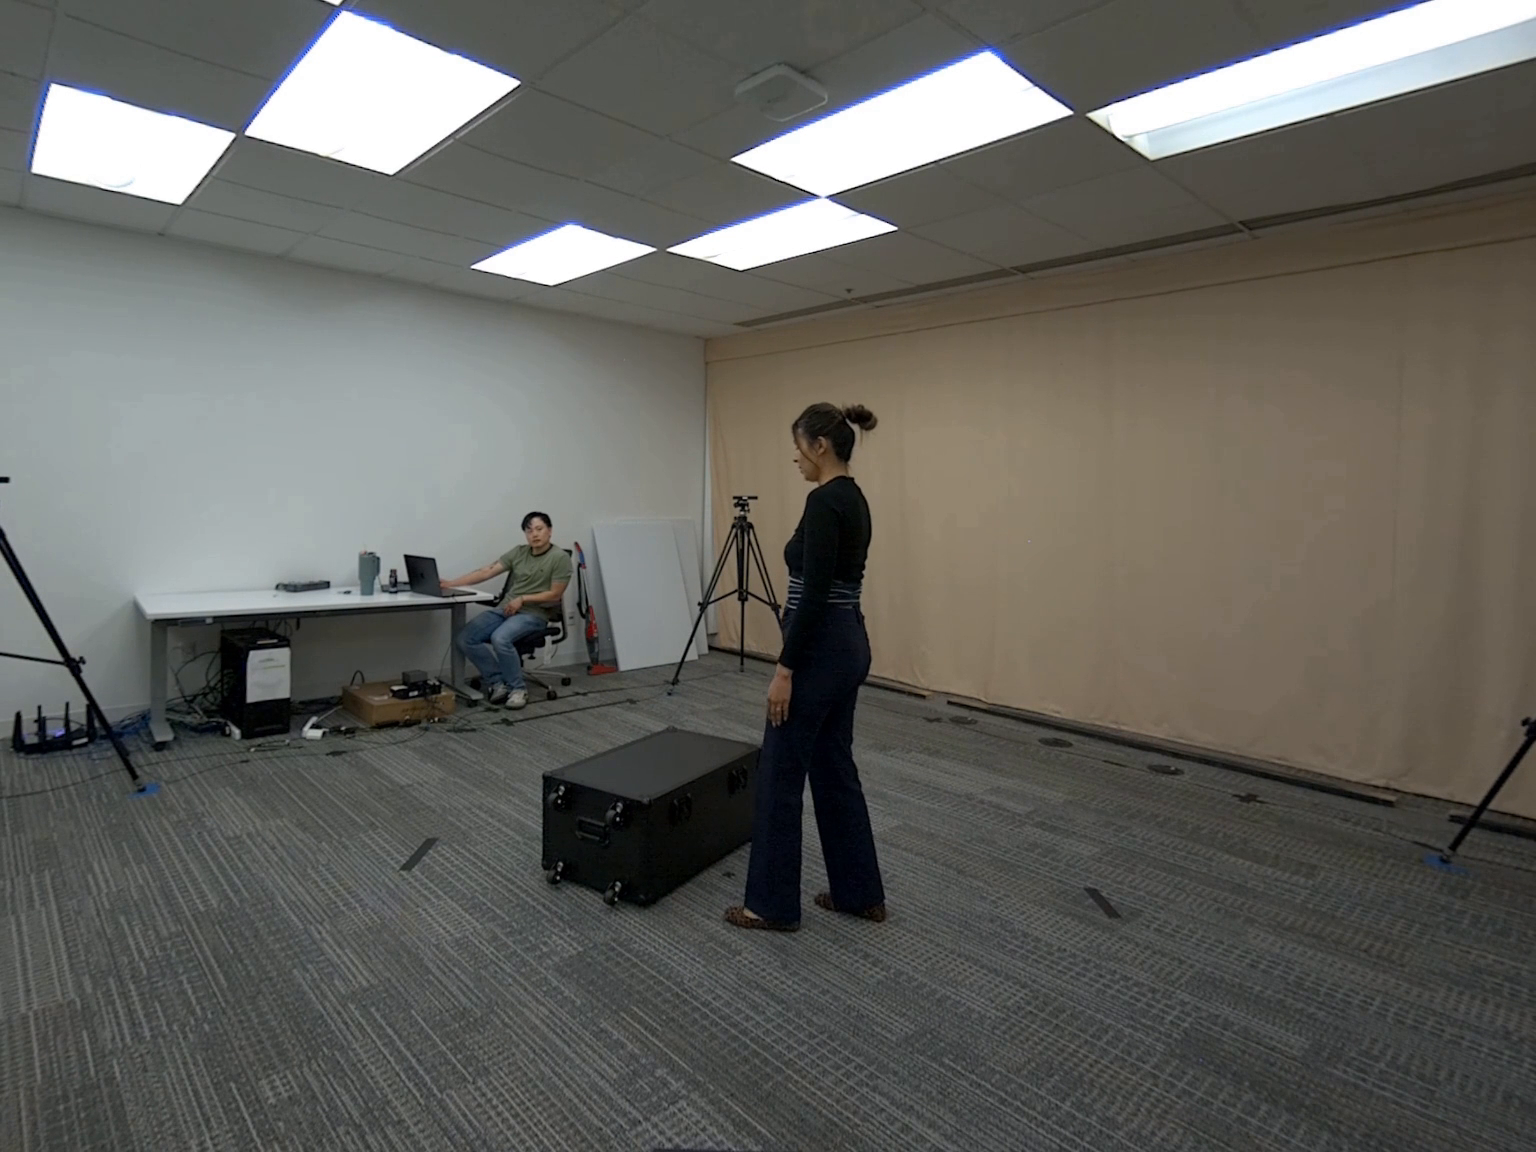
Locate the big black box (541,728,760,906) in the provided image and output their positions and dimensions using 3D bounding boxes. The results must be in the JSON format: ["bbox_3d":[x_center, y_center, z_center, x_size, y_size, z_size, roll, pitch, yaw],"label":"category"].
[{"bbox_3d":[-0.443,0.893,3.231,0.533,0.395,0.845,5,6,30],"label":"big black box"}]
